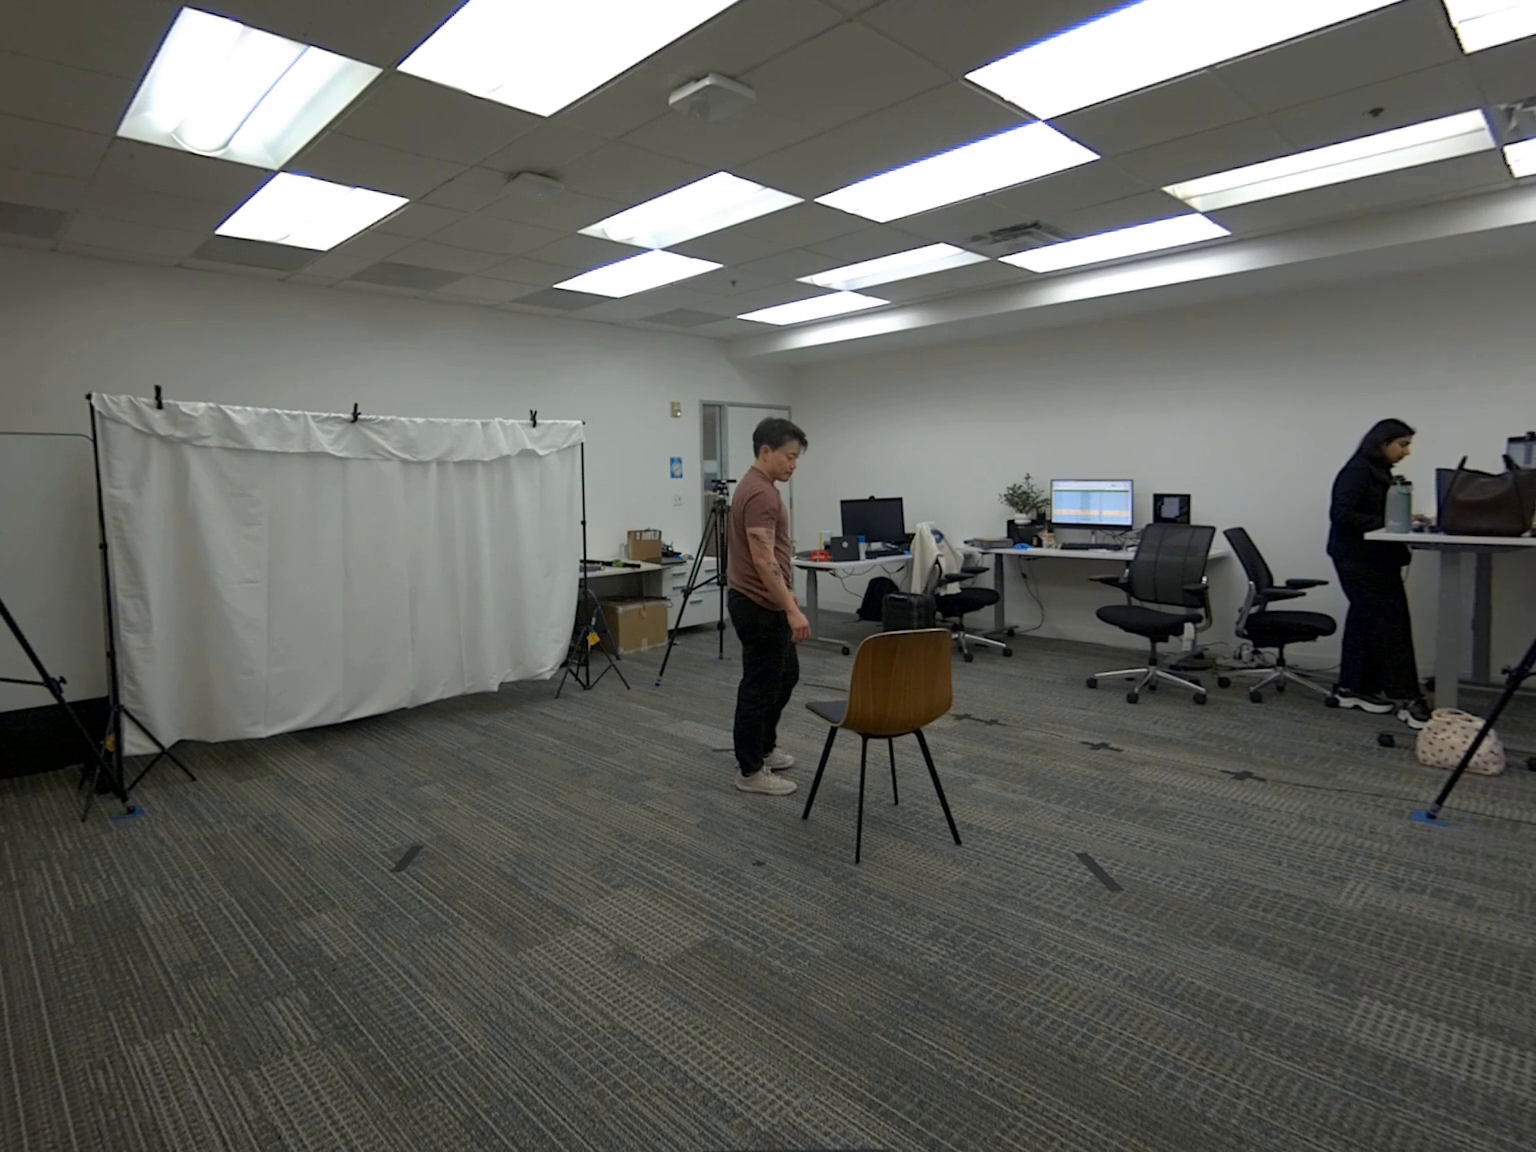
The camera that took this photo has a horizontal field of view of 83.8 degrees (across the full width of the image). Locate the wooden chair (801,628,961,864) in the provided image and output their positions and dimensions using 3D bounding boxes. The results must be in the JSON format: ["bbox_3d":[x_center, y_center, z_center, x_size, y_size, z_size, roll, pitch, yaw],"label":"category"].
[{"bbox_3d":[0.425,0.584,3.352,0.469,0.871,0.537,-3,8,-22],"label":"wooden chair"}]
